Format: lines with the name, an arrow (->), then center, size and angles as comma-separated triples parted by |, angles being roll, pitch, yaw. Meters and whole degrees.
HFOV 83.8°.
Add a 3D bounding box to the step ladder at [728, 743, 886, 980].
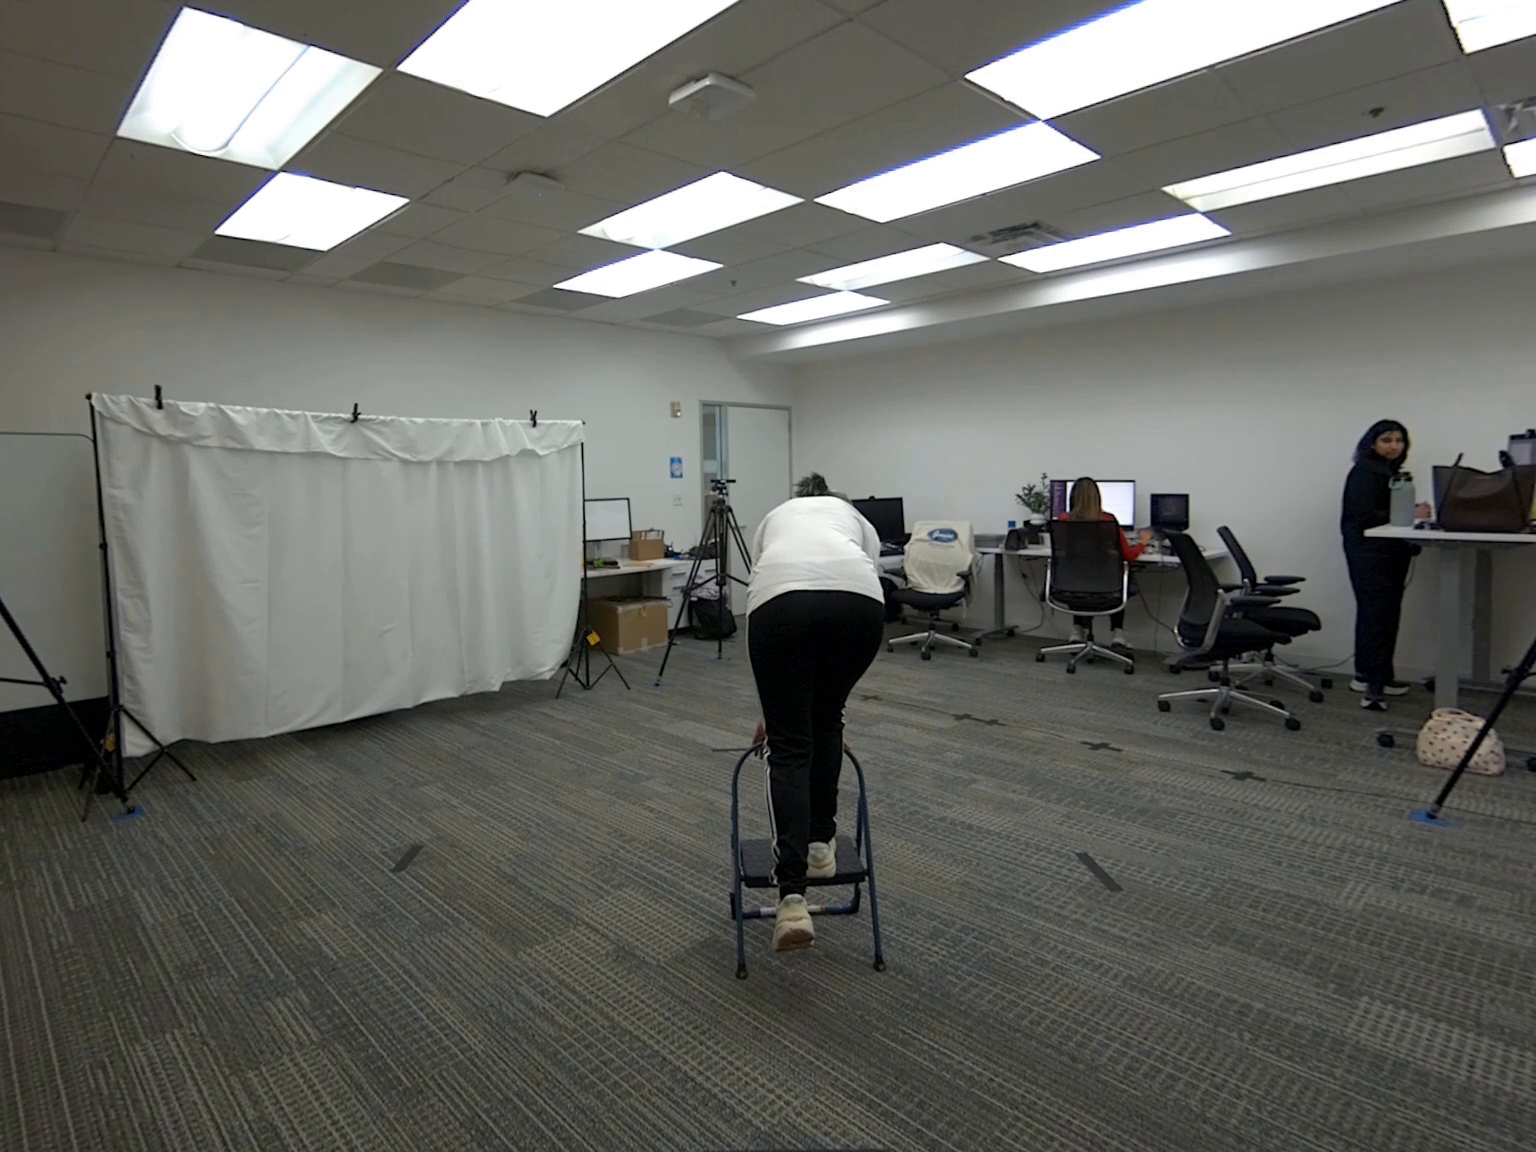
step ladder -> 0.102, 0.810, 2.565 | 0.429, 0.604, 0.352 | -2, 4, -5
